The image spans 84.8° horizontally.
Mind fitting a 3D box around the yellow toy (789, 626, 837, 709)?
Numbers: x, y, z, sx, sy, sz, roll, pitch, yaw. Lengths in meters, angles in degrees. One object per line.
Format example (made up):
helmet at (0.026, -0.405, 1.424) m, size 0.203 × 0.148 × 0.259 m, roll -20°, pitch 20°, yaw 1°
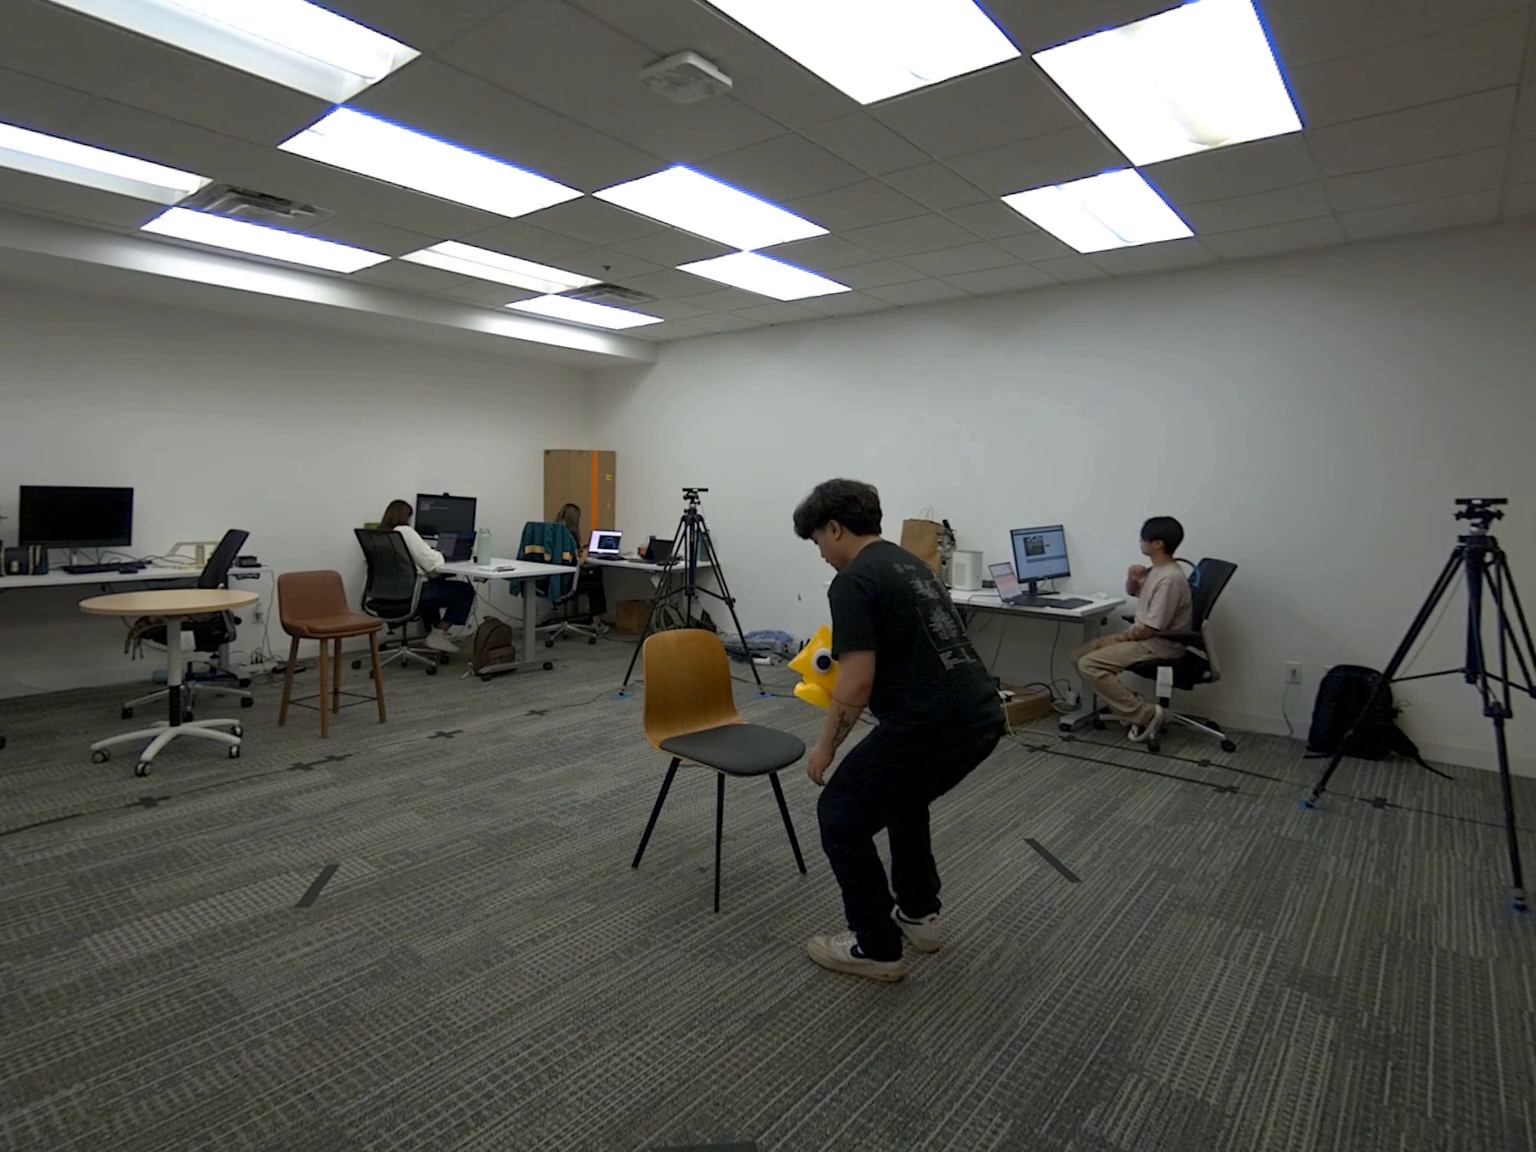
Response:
yellow toy at (0.191, 0.288, 2.757) m, size 0.200 × 0.229 × 0.198 m, roll 20°, pitch 10°, yaw 36°
